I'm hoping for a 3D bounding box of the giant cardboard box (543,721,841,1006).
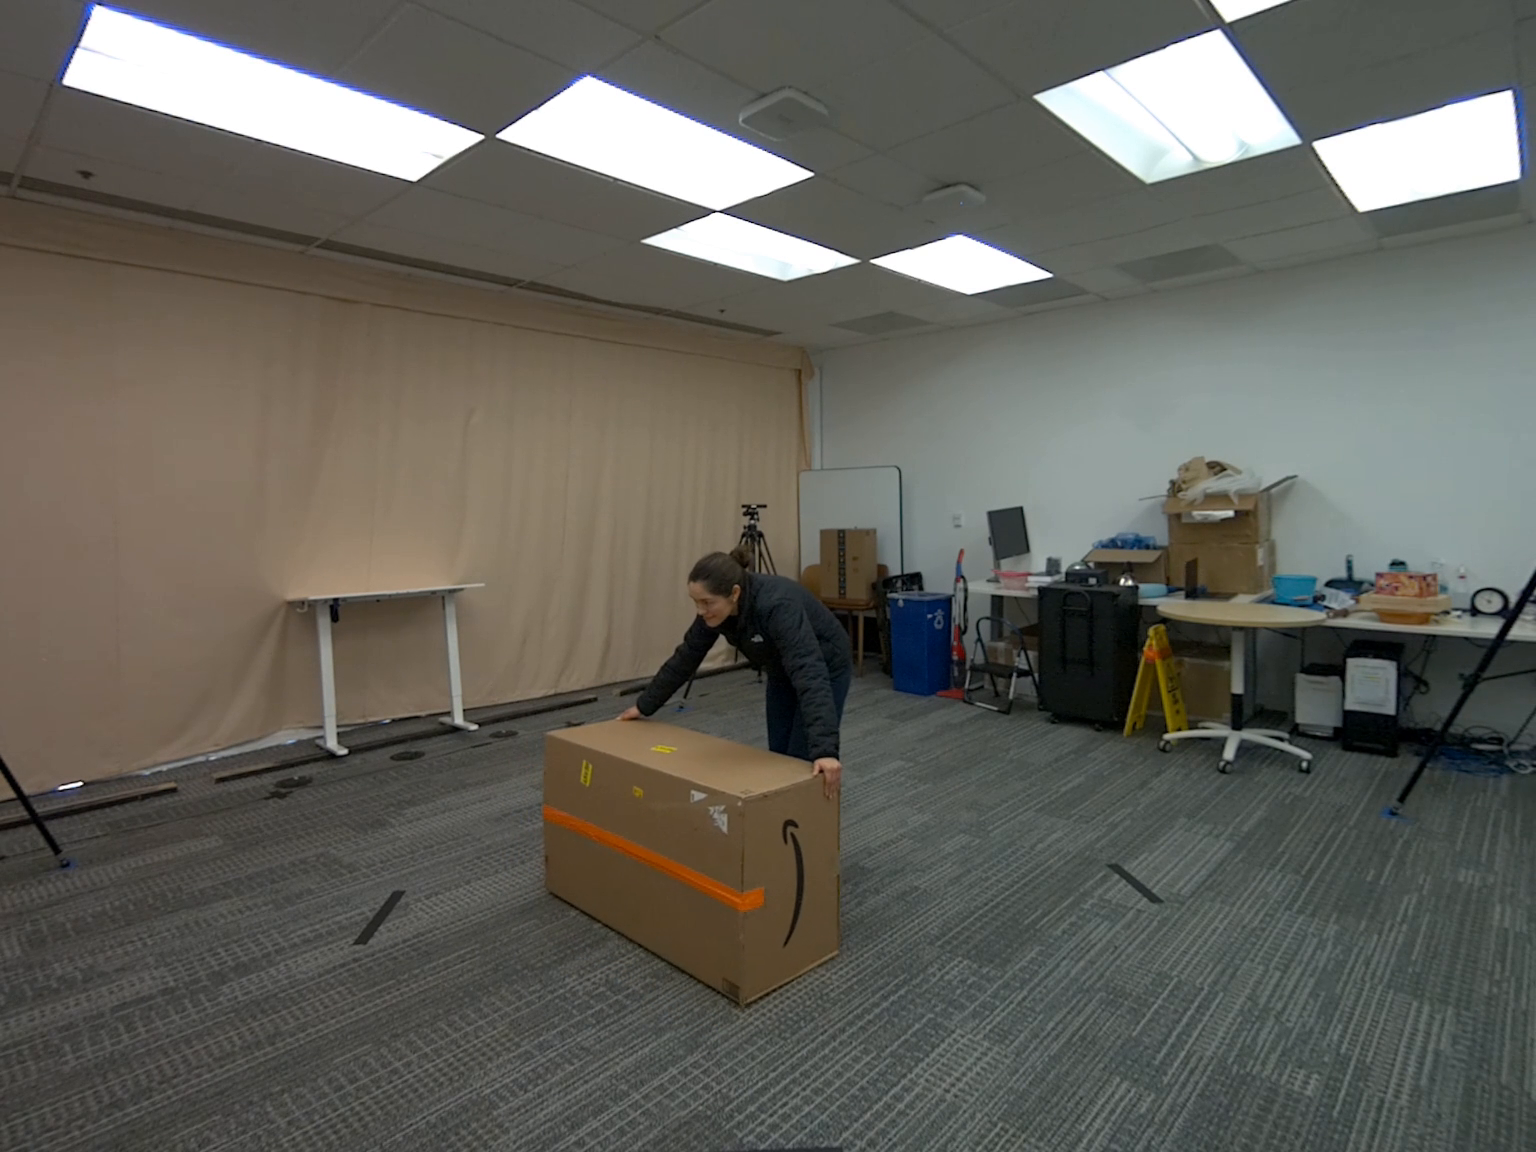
[{"bbox_3d":[-0.285,0.870,2.821,1.061,0.583,0.433,3,4,44],"label":"giant cardboard box"}]
